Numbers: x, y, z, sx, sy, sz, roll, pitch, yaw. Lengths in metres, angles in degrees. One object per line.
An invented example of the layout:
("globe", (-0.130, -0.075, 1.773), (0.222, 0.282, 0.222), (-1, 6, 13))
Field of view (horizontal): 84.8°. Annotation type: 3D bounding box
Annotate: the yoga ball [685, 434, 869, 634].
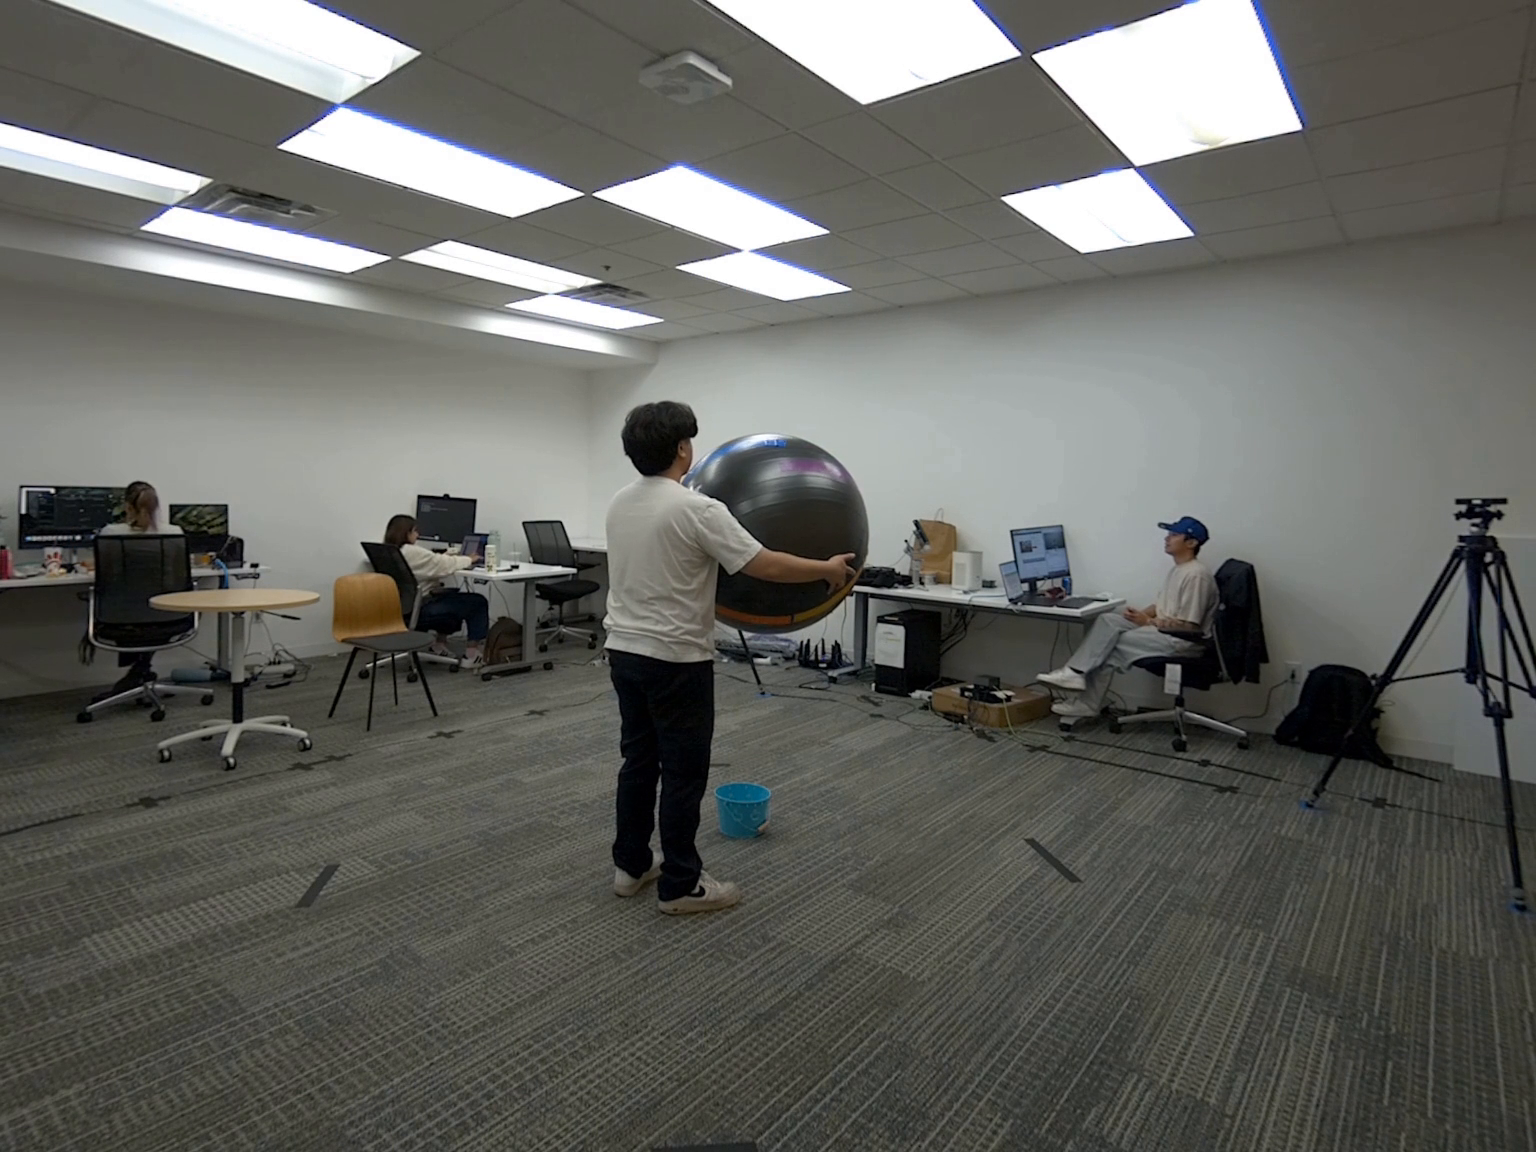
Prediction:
("yoga ball", (0.001, -0.161, 3.246), (0.757, 0.755, 0.762), (1, 4, -2))
